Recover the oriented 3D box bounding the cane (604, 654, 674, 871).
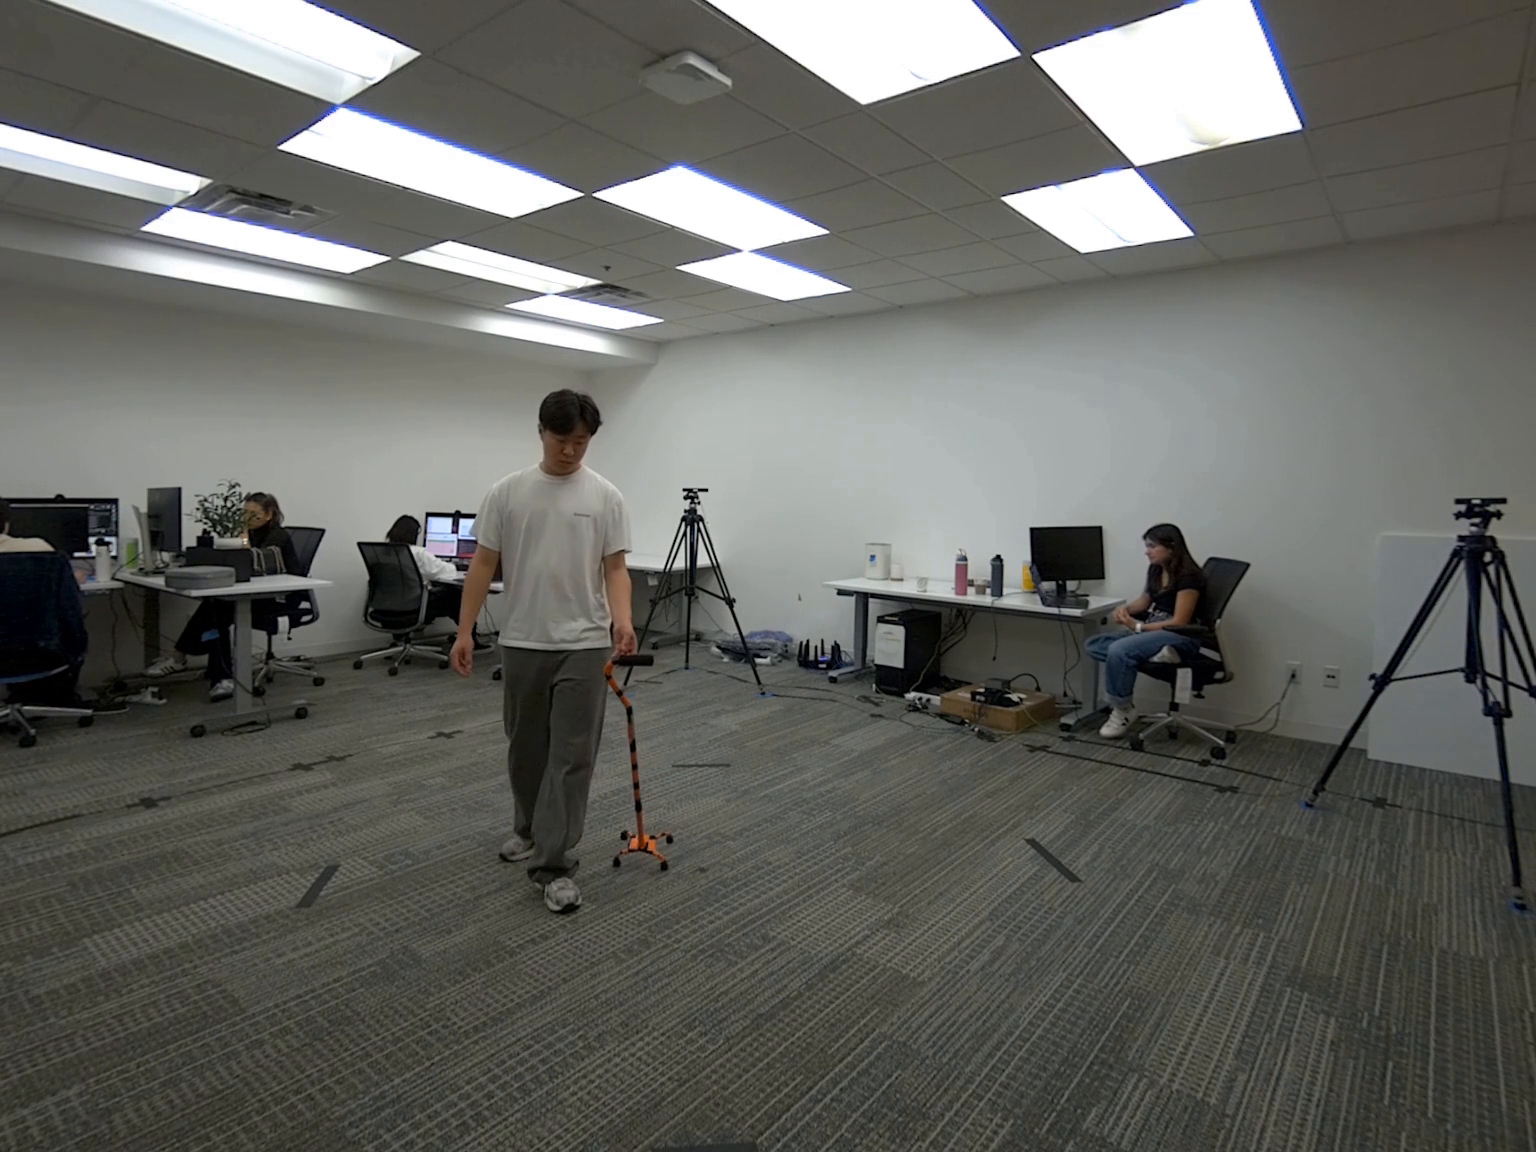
[{"bbox_3d":[-0.459,0.643,2.962,0.208,0.886,0.154,2,28,4],"label":"cane"}]
